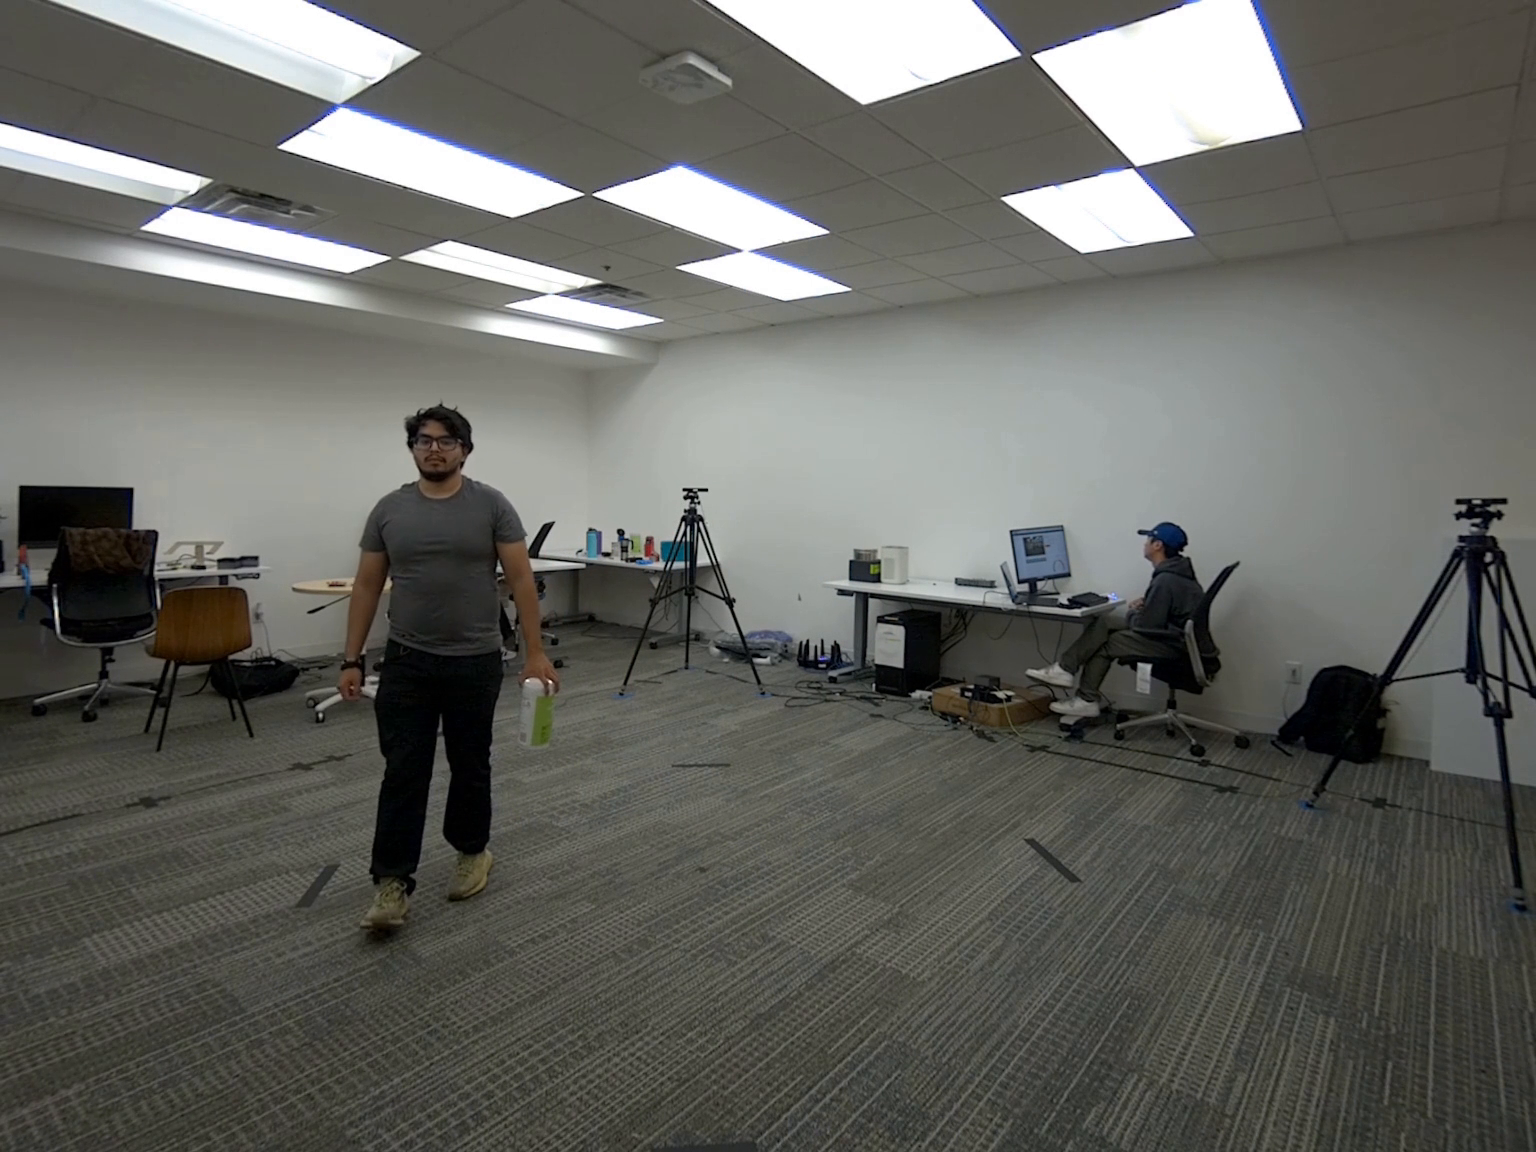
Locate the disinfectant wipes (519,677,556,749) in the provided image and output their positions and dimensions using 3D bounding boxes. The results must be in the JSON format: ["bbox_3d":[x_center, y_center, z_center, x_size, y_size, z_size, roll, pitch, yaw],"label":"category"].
[{"bbox_3d":[-0.778,0.457,2.793,0.117,0.216,0.118,7,5,-3],"label":"disinfectant wipes"}]
